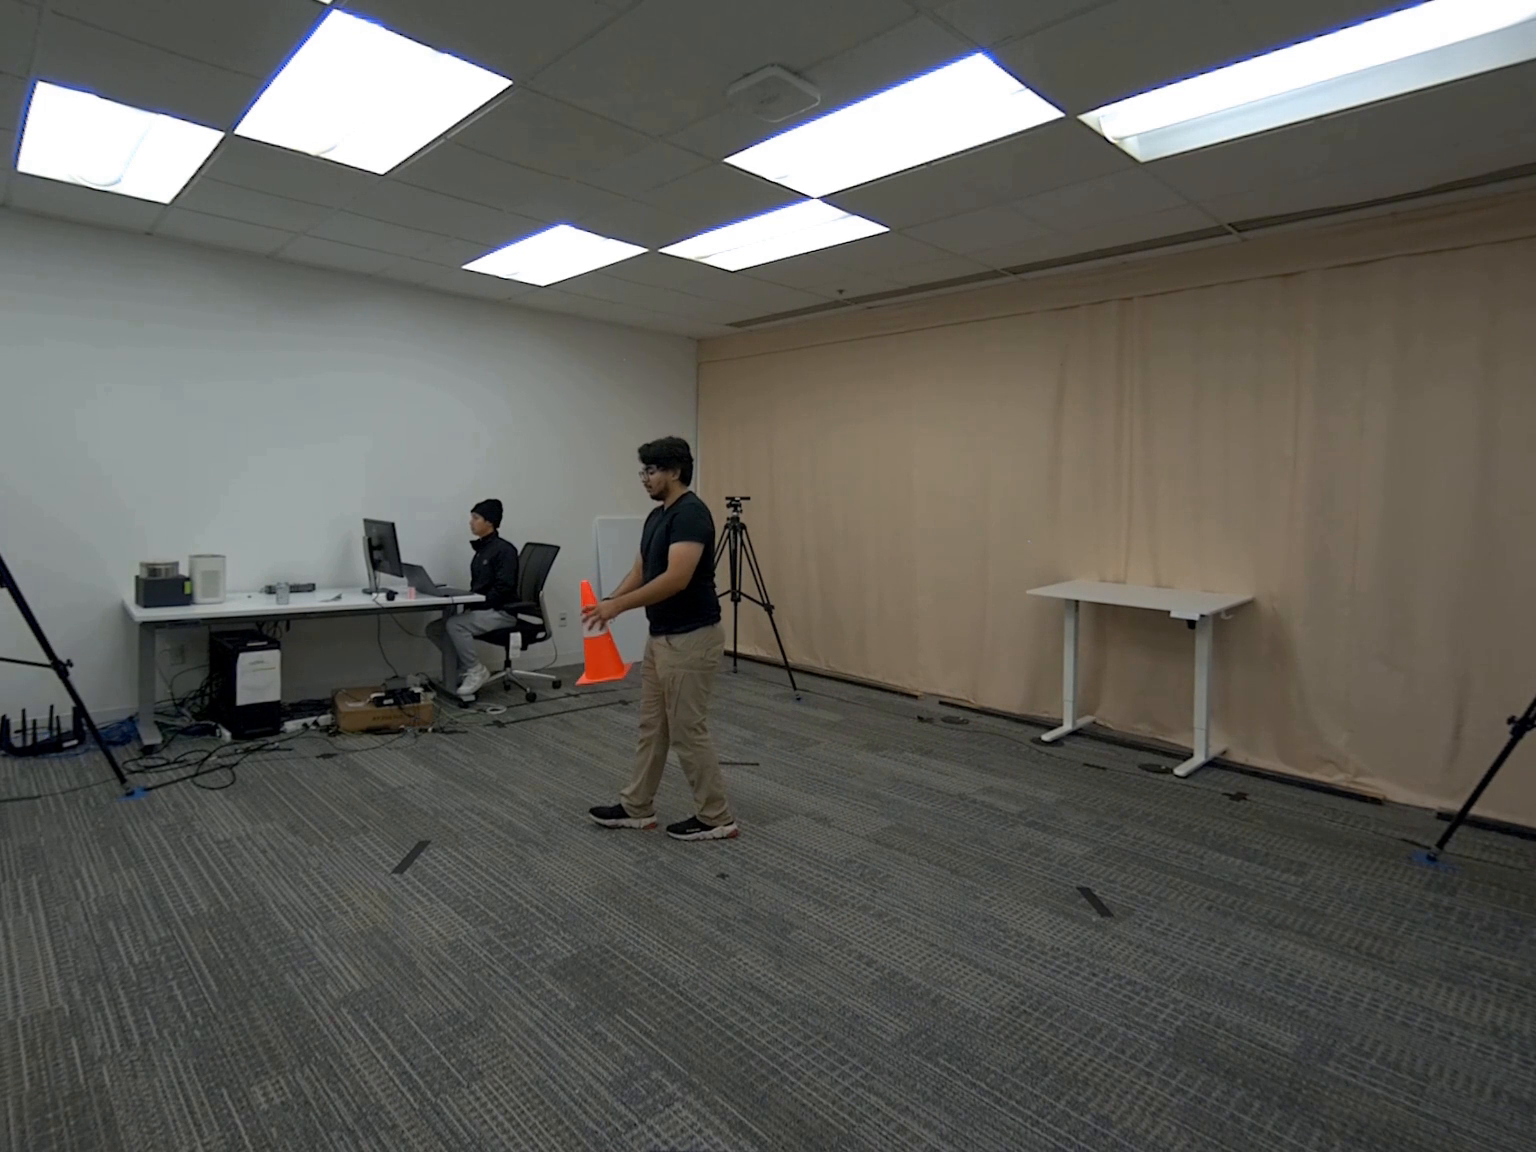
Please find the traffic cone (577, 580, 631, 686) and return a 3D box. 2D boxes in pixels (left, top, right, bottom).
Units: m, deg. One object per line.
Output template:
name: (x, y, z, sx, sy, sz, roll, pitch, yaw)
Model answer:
traffic cone: (-0.685, 0.201, 3.323, 0.206, 0.381, 0.204, -8, 9, 6)
